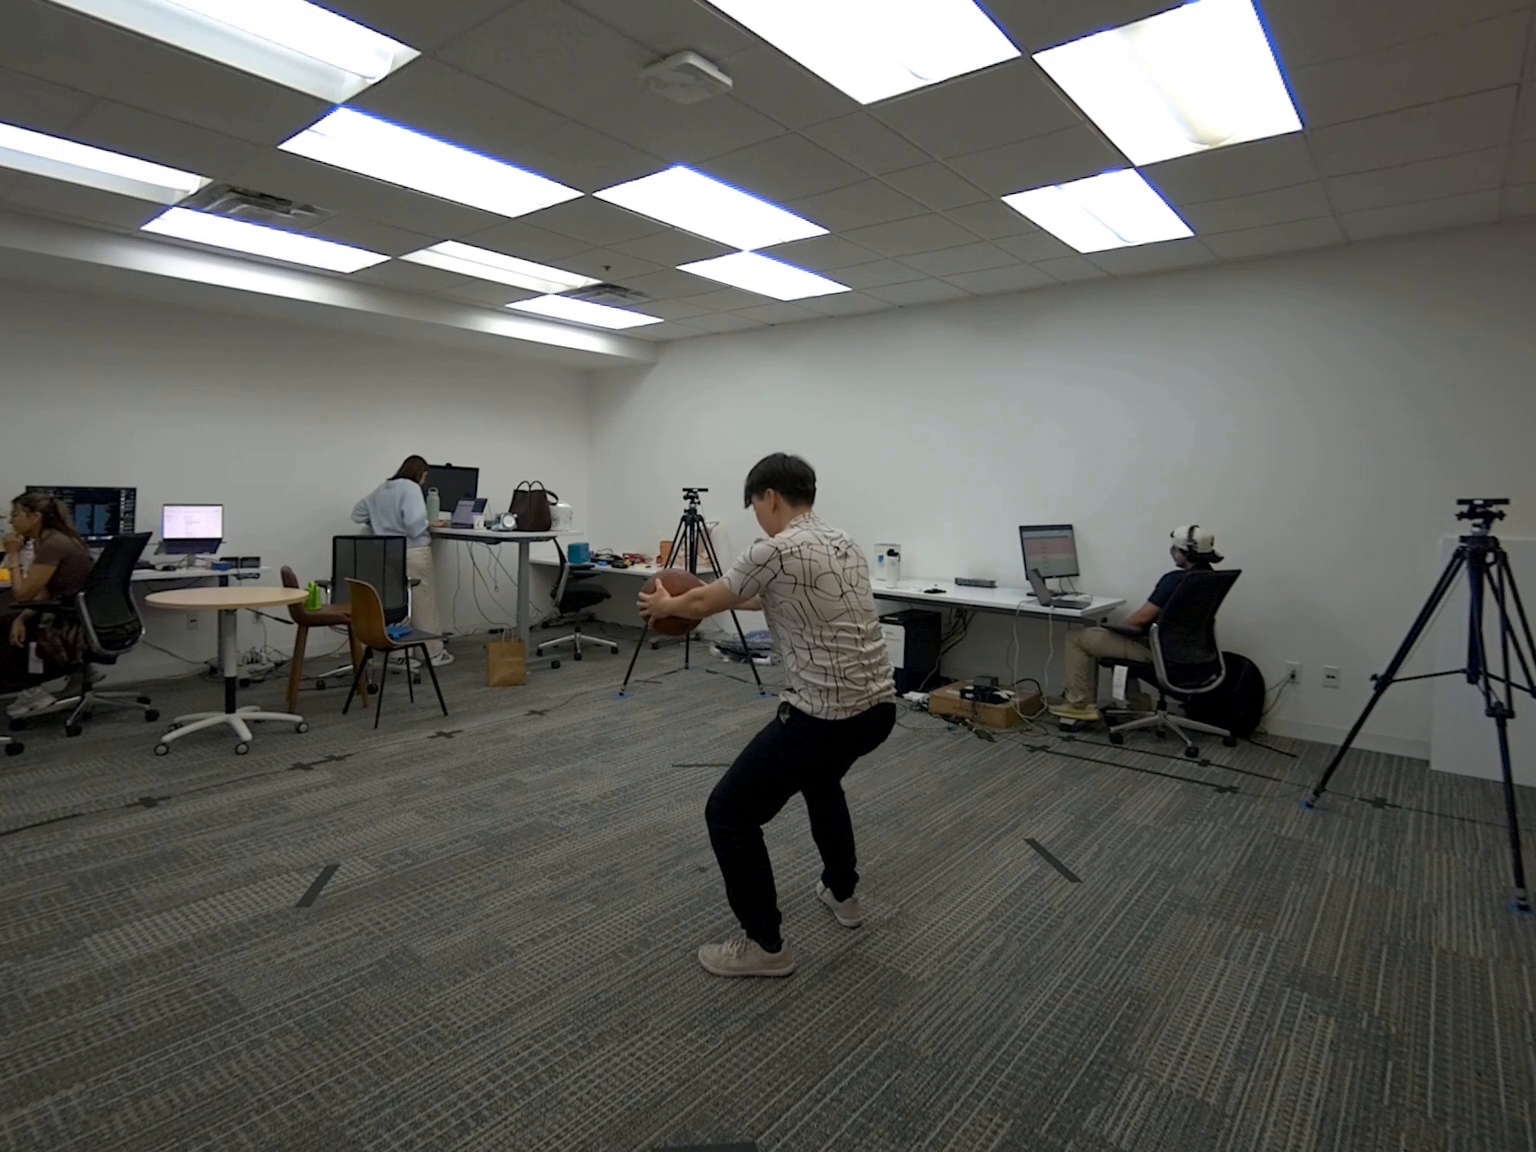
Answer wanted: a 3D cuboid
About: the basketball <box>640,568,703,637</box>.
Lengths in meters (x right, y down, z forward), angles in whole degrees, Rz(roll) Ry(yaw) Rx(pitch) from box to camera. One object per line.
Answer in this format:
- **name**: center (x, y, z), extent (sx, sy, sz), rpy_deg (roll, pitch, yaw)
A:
- **basketball**: center (-0.339, 0.092, 2.970), extent (0.235, 0.235, 0.237), rpy_deg (1, 4, -2)
